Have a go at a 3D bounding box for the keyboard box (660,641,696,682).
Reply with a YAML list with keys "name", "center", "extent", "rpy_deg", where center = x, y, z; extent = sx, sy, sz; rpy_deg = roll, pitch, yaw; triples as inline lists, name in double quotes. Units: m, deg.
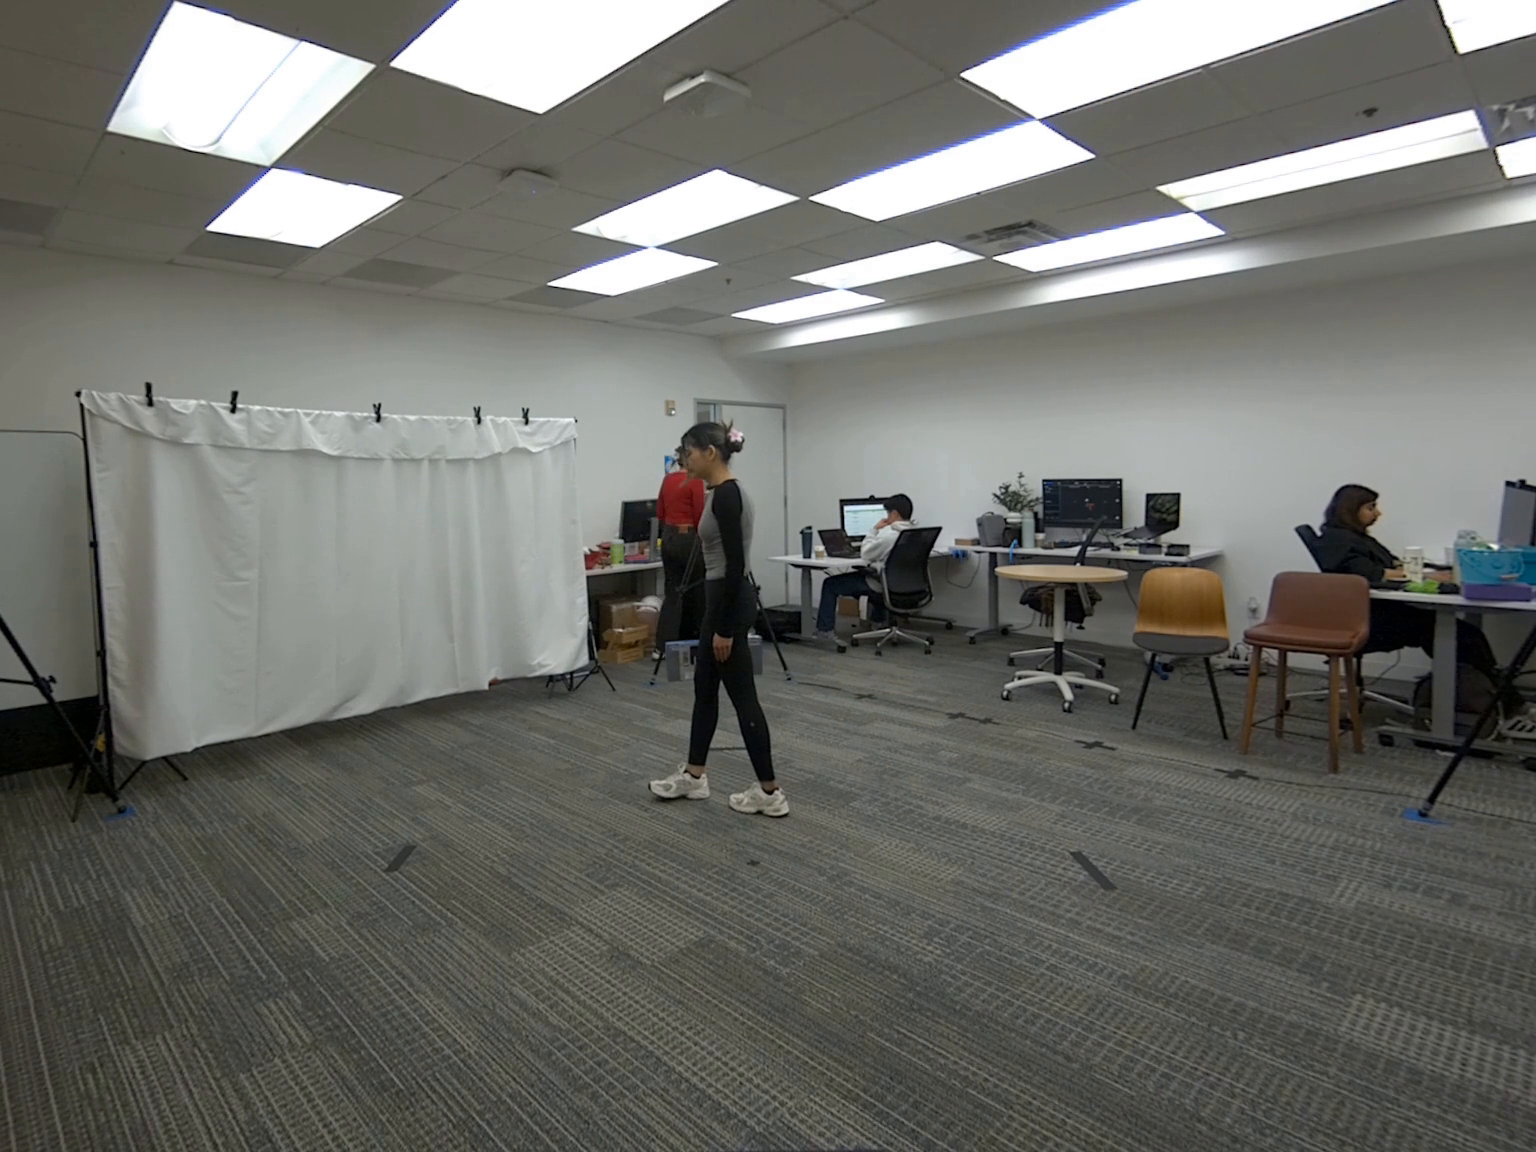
- name: "keyboard box"
  center: [-0.238, 0.370, 3.877]
  extent: [0.433, 0.175, 0.060]
  rpy_deg: [-5, 3, -10]
